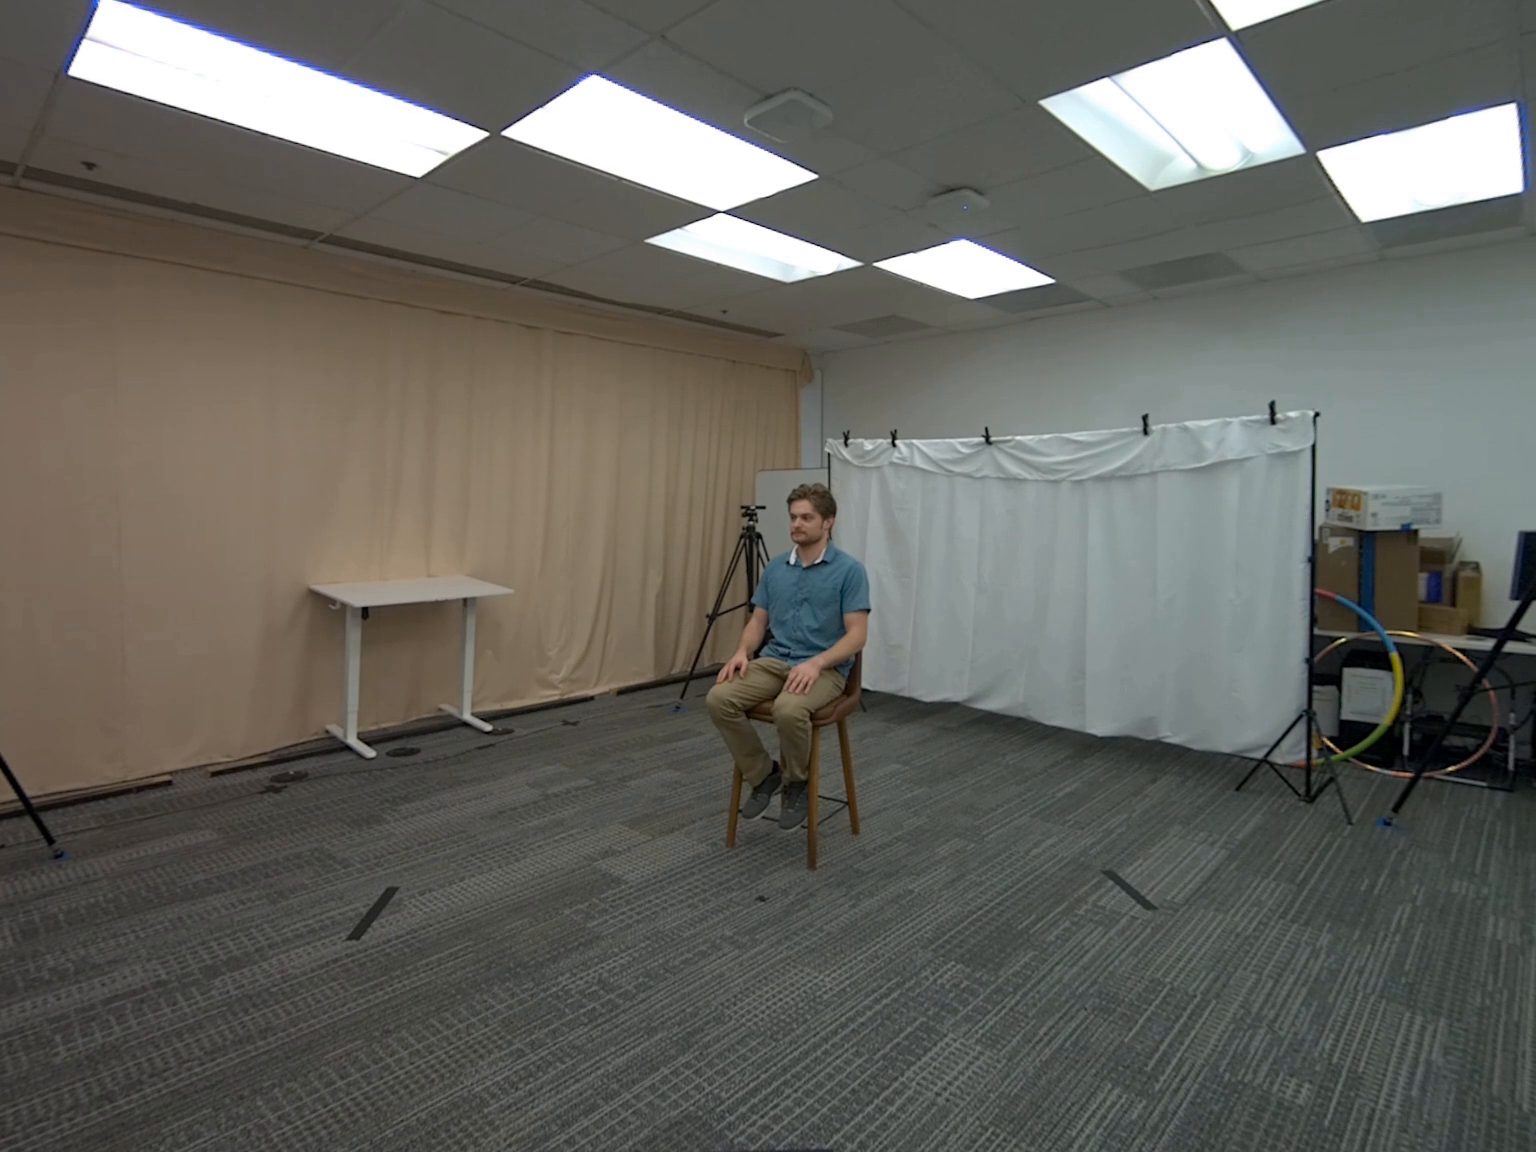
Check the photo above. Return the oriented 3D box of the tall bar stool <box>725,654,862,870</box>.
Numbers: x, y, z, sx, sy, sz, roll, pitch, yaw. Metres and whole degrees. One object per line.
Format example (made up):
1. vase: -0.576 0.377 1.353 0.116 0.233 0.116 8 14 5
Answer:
1. tall bar stool: 0.130 0.664 3.495 0.471 0.889 0.454 3 2 34
